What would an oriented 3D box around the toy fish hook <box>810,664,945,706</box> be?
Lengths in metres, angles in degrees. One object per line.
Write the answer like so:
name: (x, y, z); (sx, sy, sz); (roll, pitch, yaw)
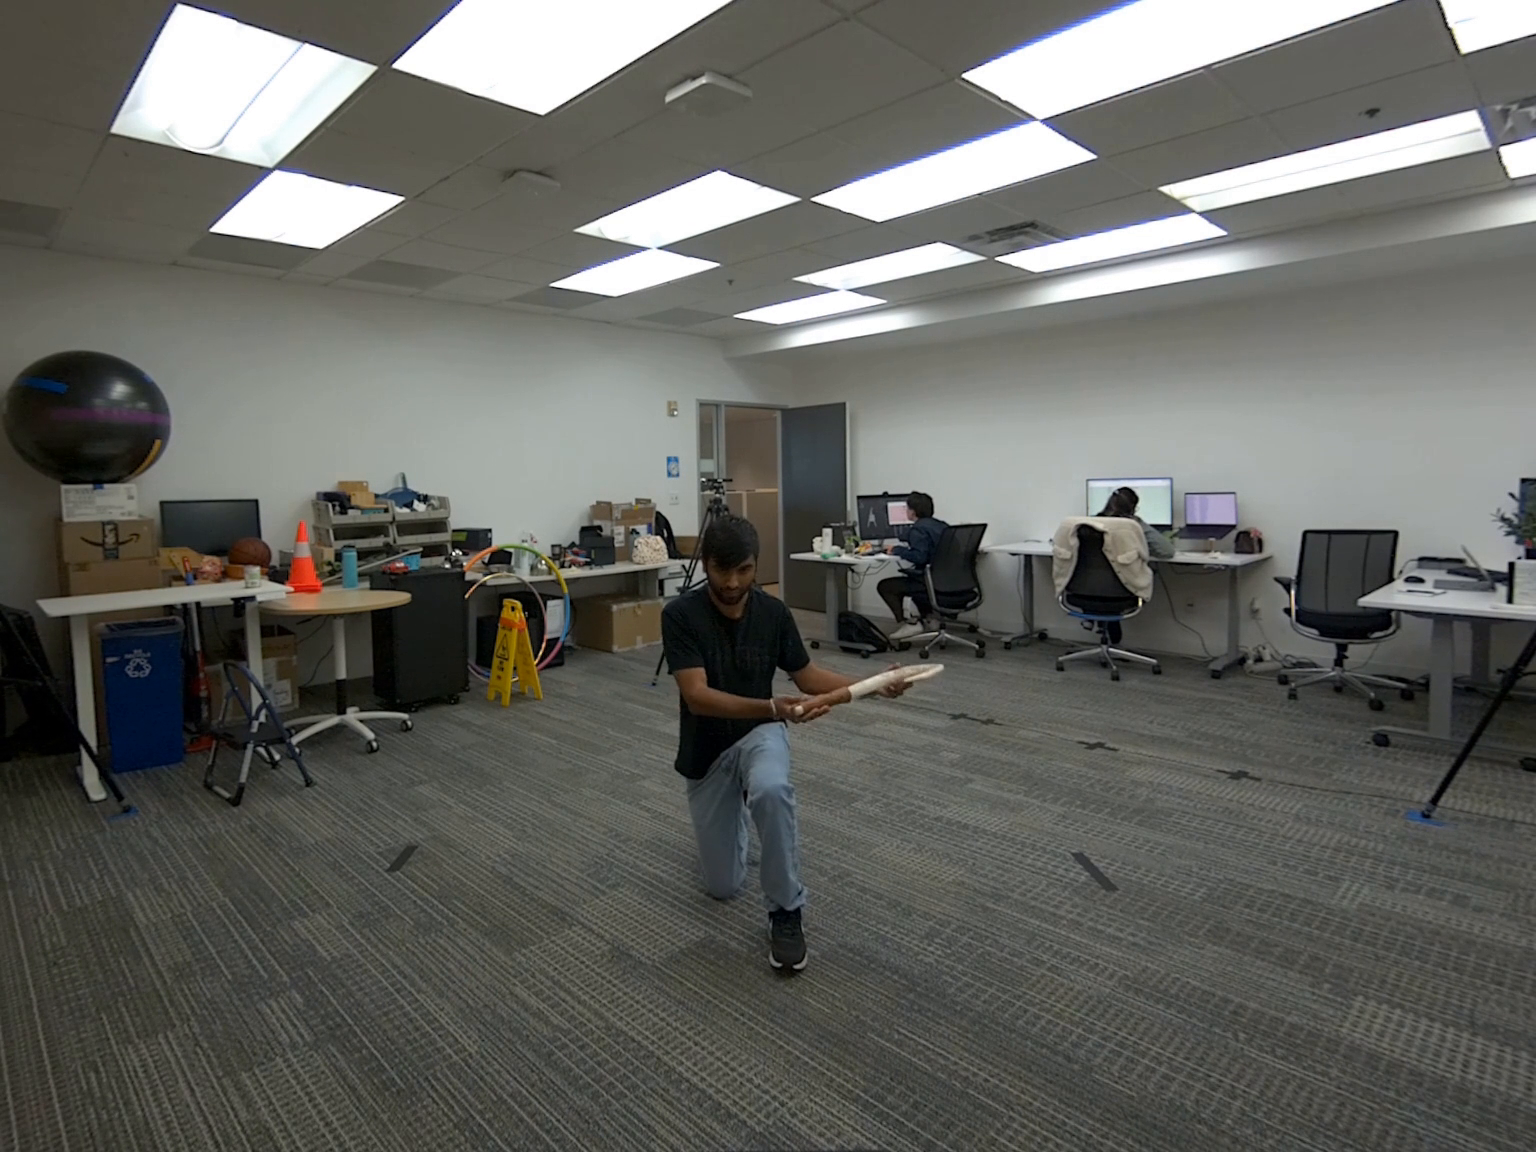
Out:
toy fish hook: (0.273, 0.322, 2.468); (0.496, 0.049, 0.227); (-14, -8, -34)
